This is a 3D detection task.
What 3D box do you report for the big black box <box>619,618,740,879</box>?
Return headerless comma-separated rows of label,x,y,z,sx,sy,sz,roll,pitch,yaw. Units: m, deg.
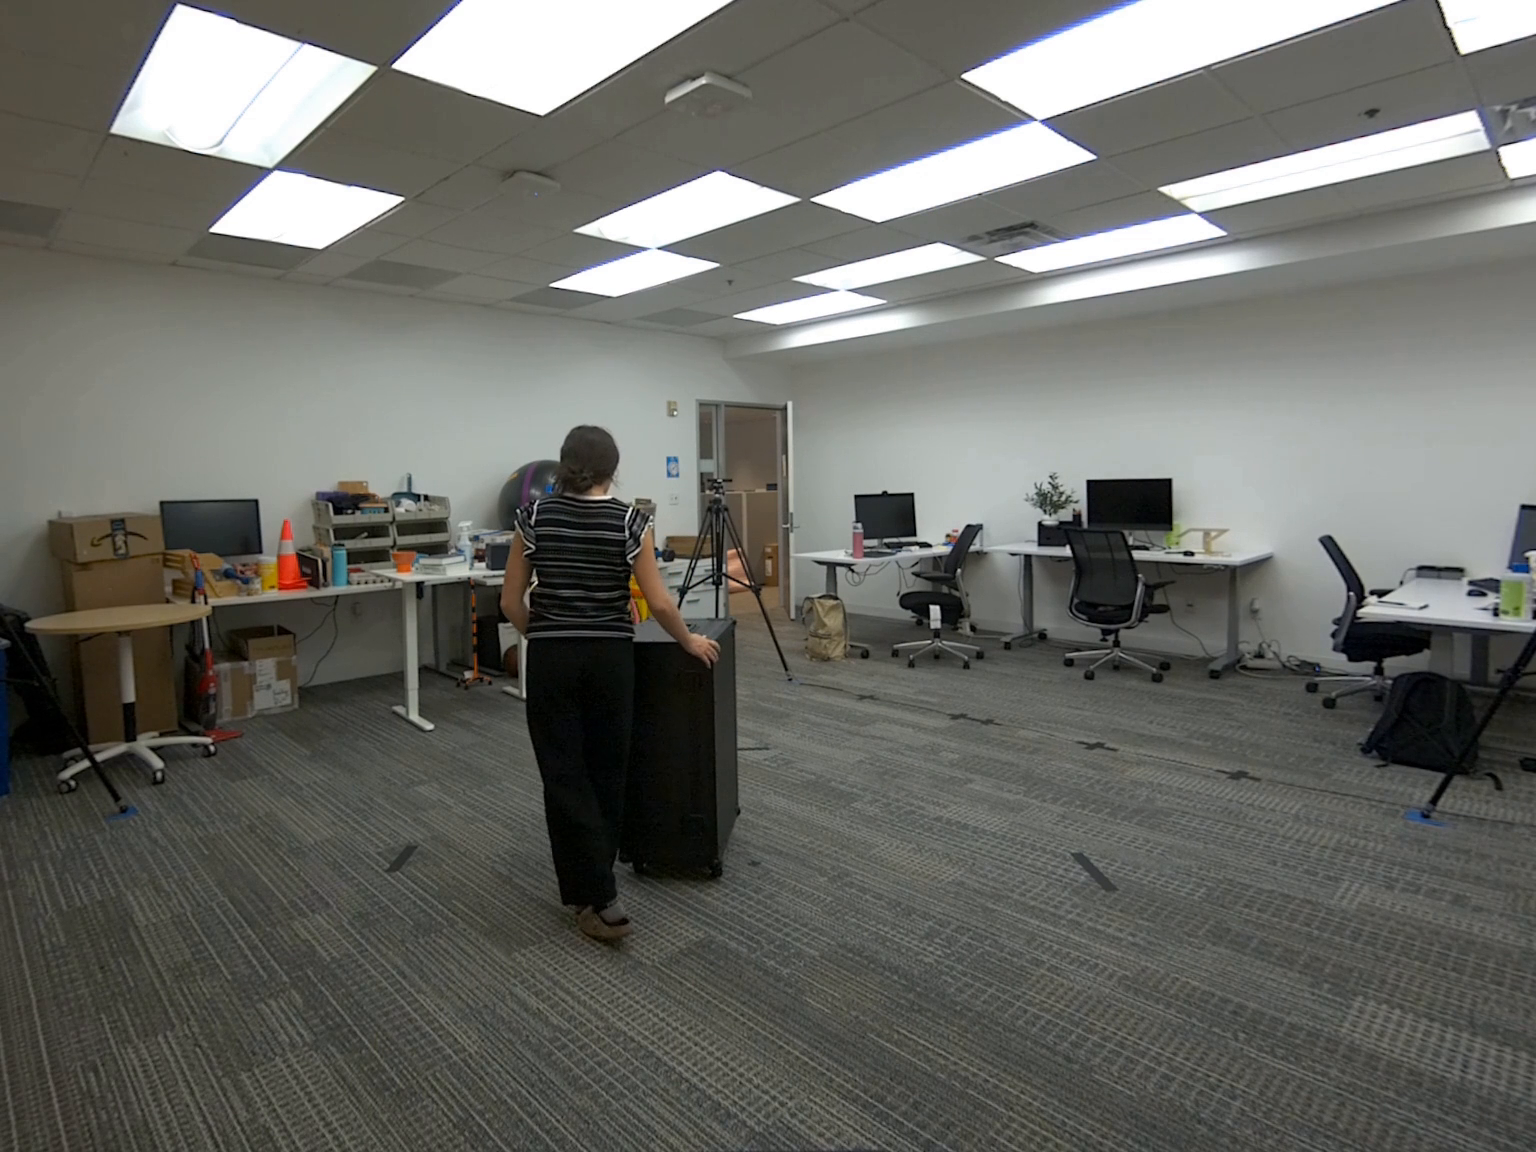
big black box,-0.328,0.617,3.156,0.400,0.857,0.519,-1,5,9
